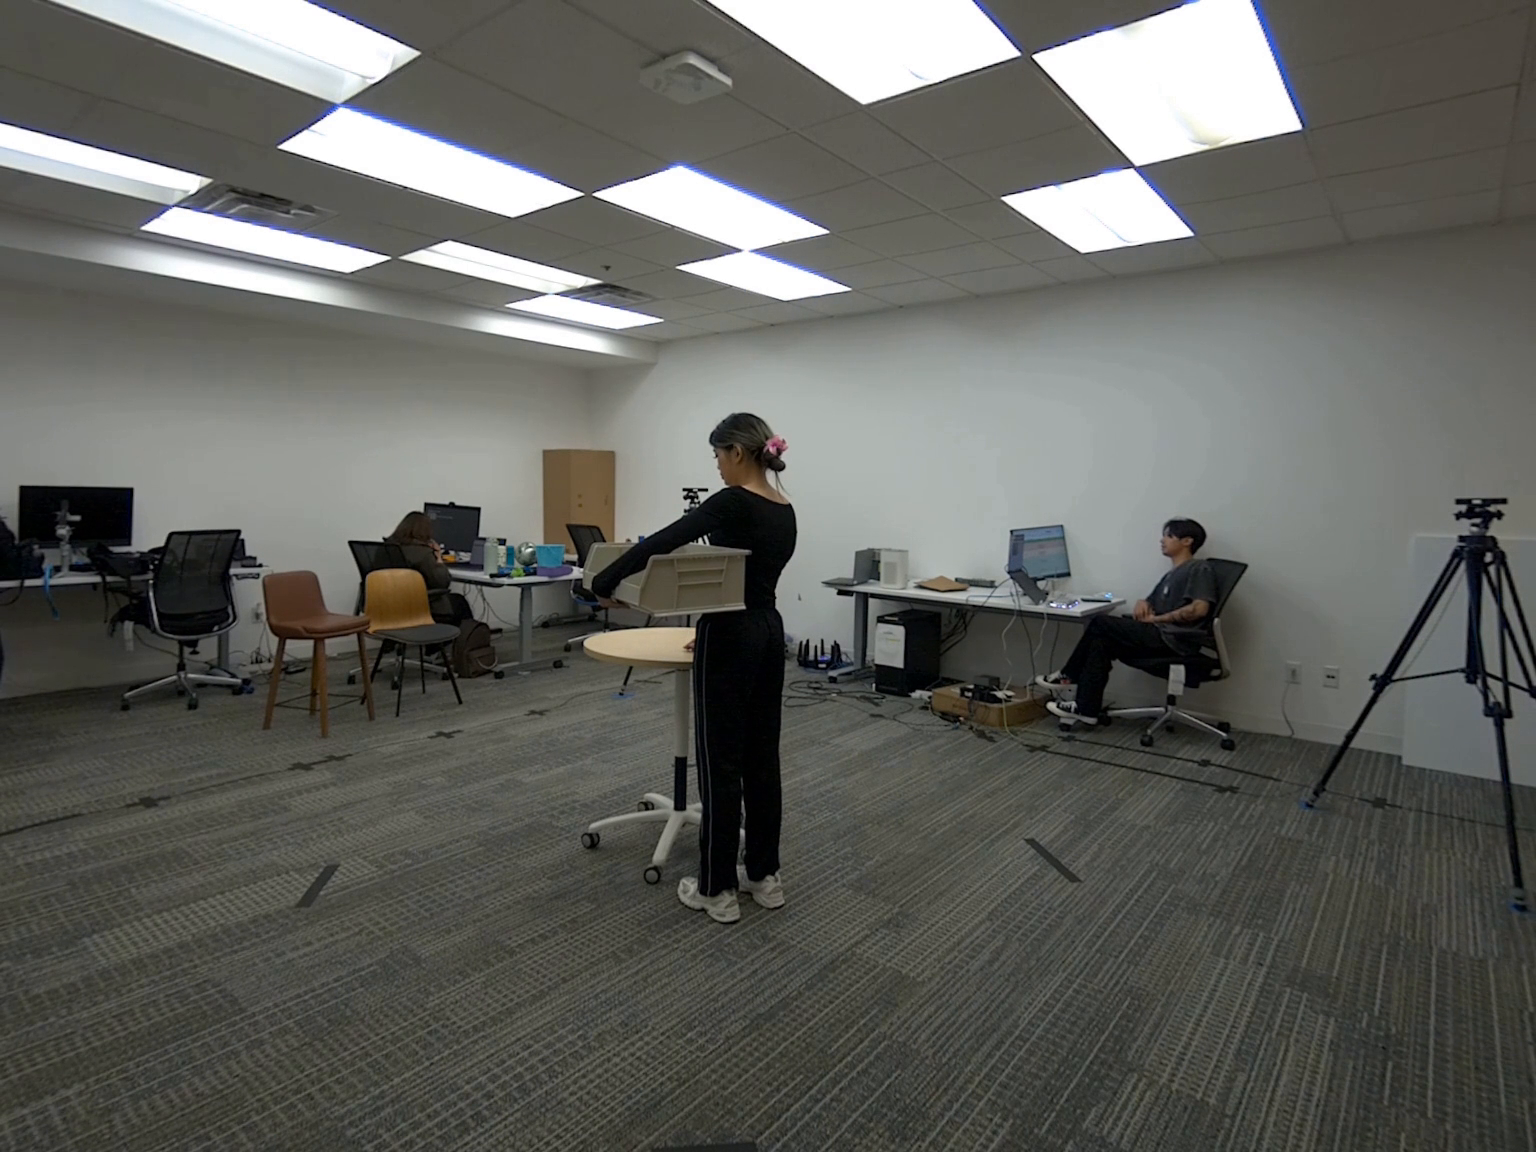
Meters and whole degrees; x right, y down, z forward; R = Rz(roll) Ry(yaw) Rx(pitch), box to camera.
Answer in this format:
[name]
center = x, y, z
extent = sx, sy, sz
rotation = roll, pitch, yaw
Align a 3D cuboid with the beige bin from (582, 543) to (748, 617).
[beige bin]
center = -0.340, 0.001, 2.659
extent = 0.367, 0.188, 0.436
rotation = -2, 7, -34
